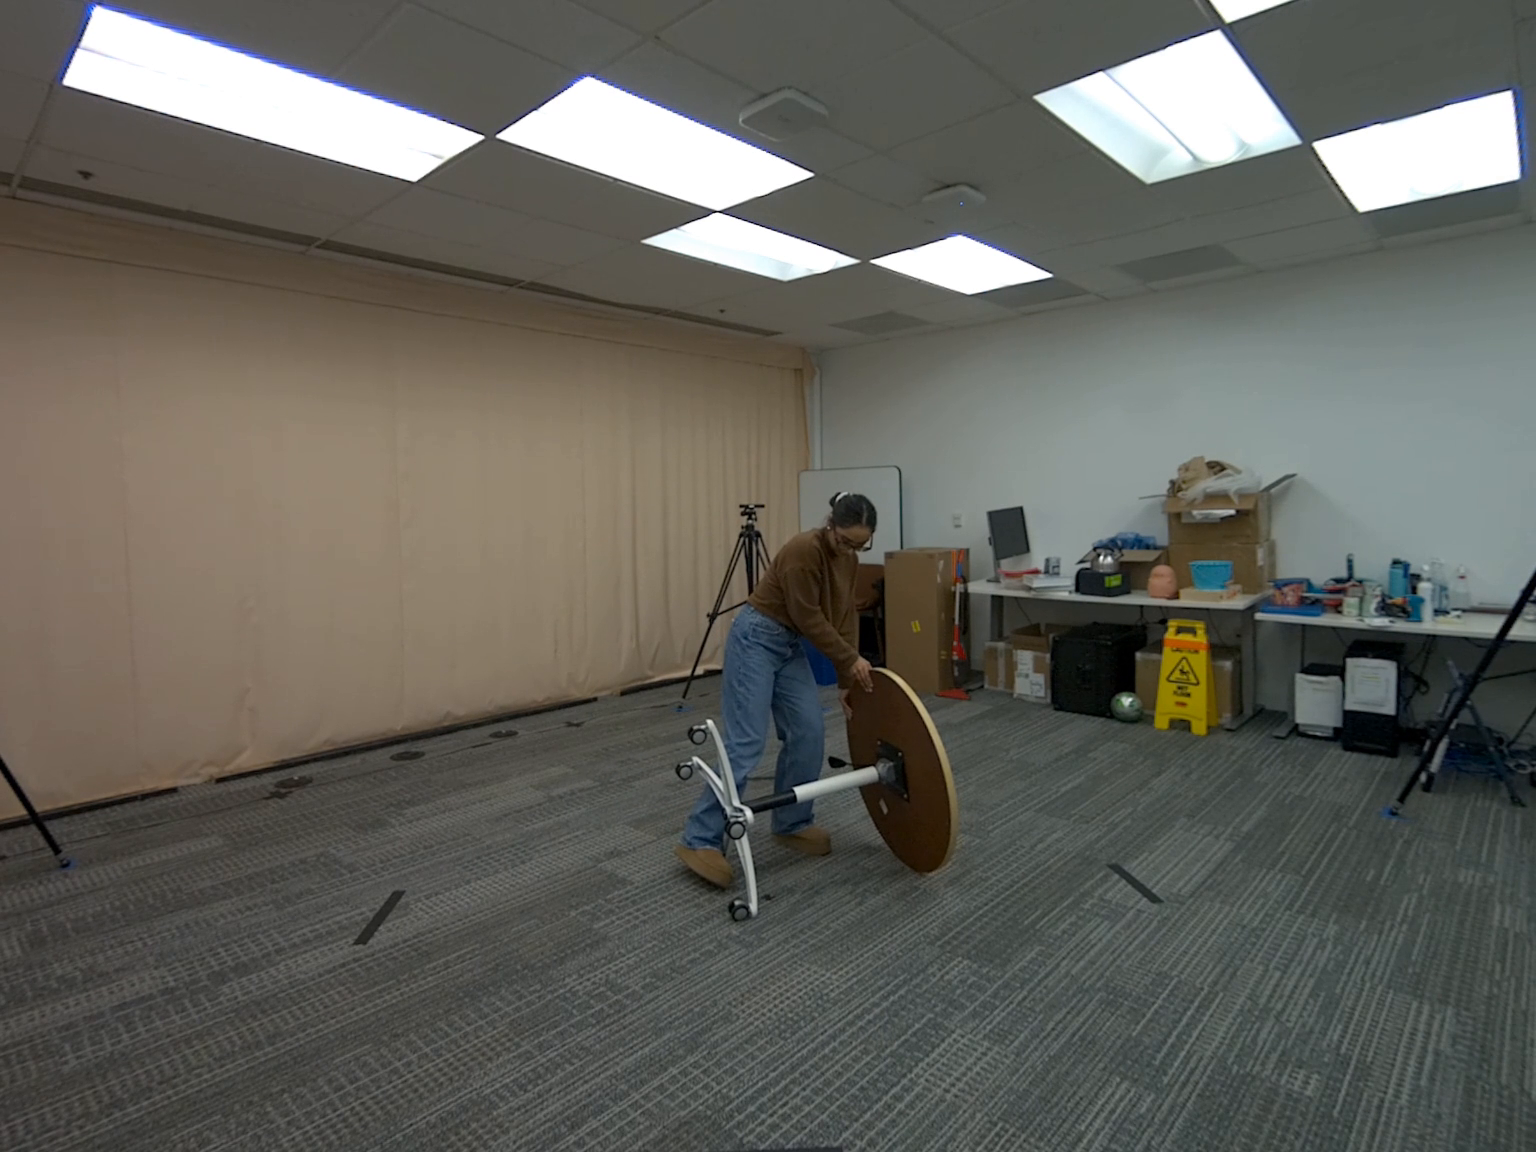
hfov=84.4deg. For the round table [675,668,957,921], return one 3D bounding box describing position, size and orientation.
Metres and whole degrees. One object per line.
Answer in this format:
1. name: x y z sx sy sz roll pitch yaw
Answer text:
1. round table: 0.138 0.804 3.101 0.781 0.760 0.780 -10 7 -18
